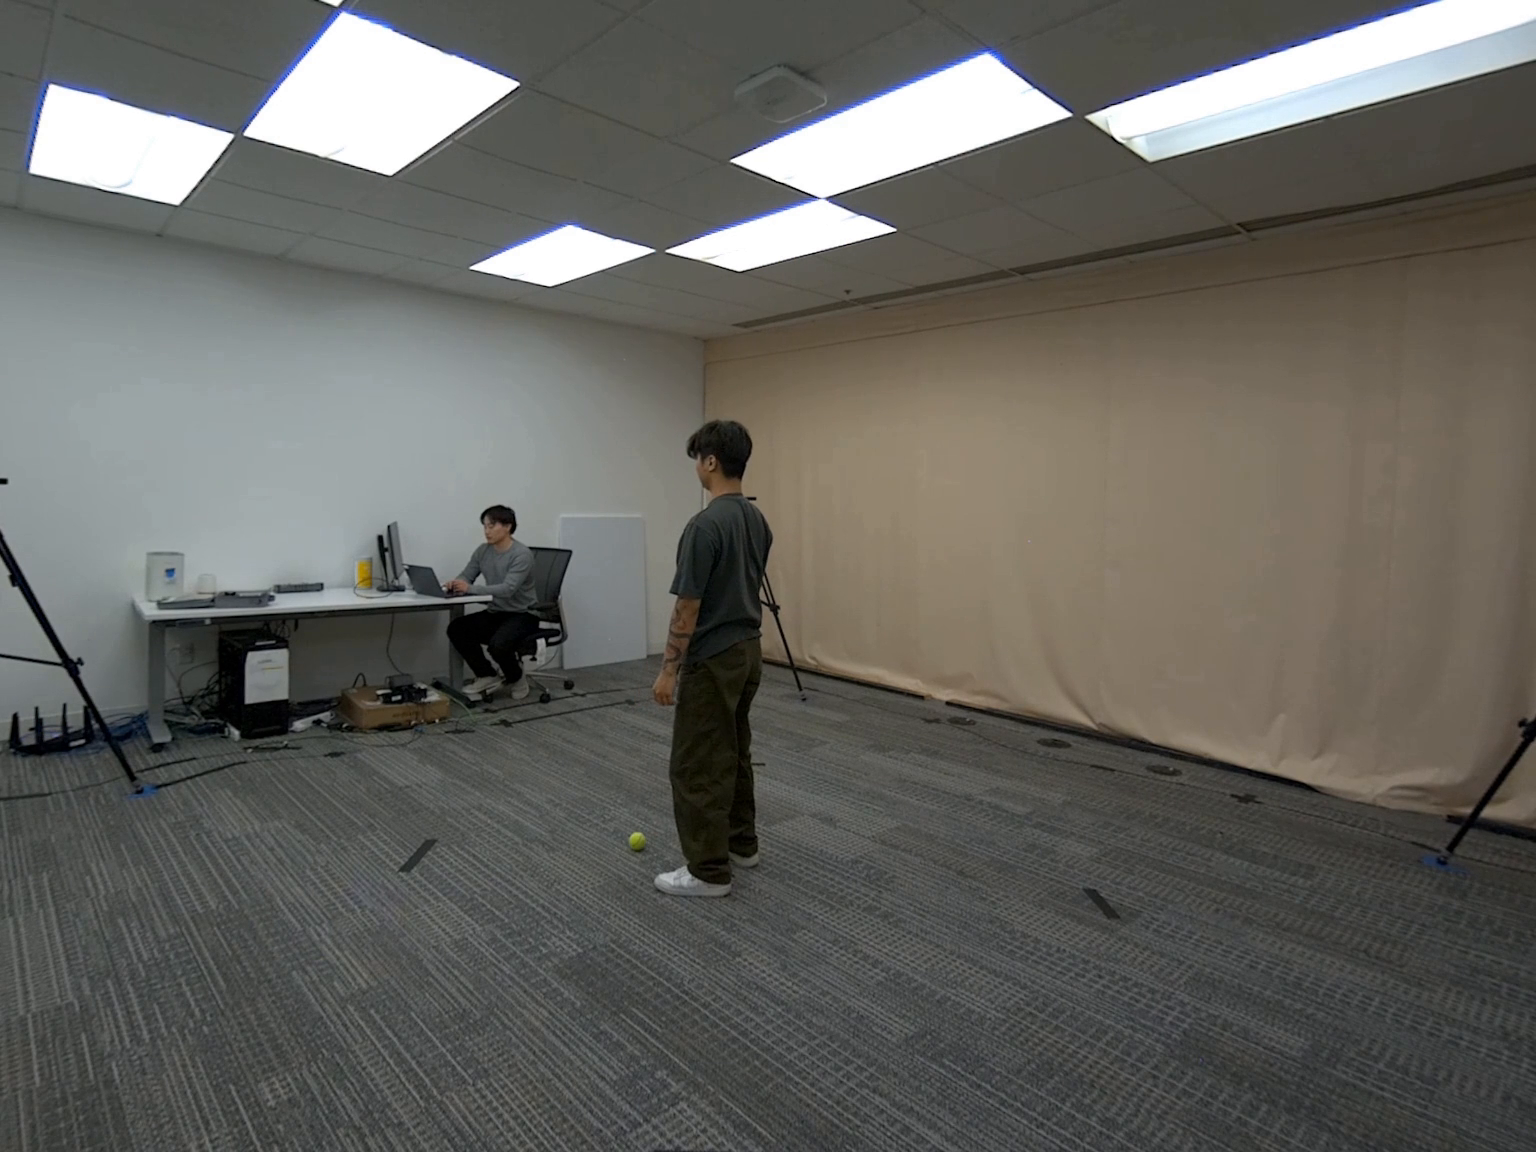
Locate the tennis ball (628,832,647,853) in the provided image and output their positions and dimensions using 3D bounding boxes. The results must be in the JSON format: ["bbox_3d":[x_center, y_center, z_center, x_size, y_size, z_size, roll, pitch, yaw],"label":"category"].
[{"bbox_3d":[-0.523,1.031,3.318,0.066,0.066,0.067,1,4,-1],"label":"tennis ball"}]
